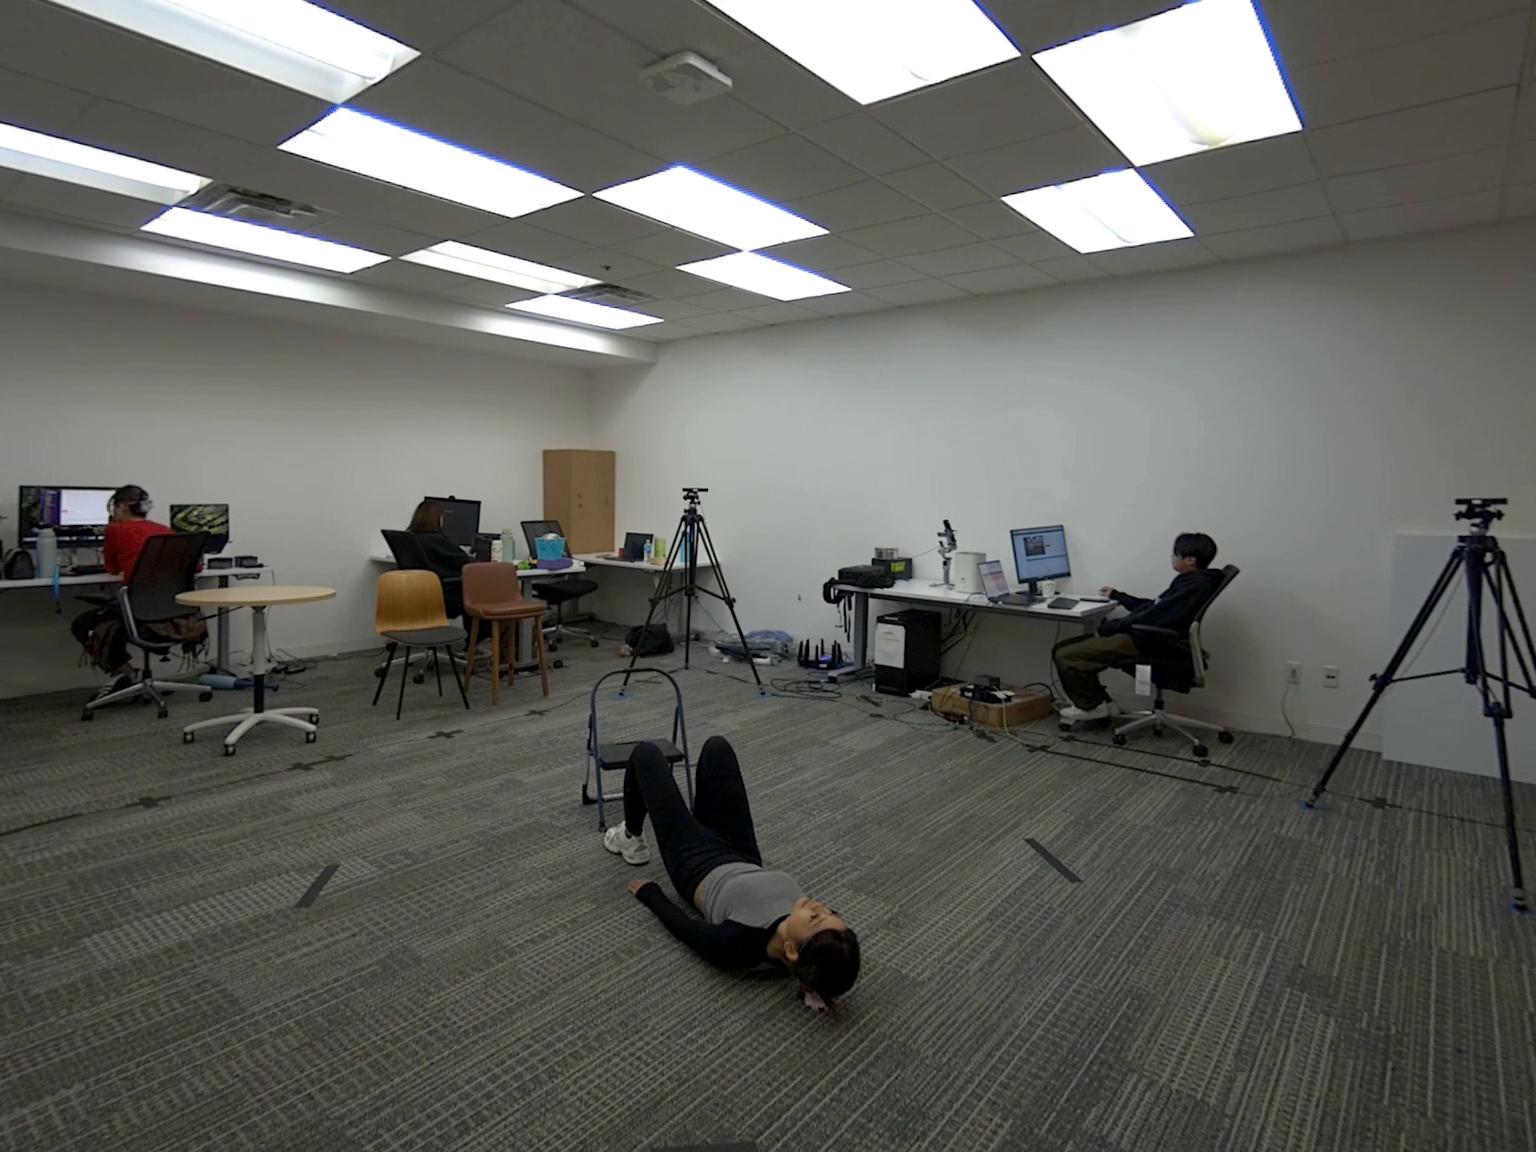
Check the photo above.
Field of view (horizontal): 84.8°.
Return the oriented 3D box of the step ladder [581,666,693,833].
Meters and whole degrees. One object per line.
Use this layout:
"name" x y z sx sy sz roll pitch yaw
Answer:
"step ladder" -0.570 0.710 3.655 0.420 0.604 0.359 -1 4 -25
